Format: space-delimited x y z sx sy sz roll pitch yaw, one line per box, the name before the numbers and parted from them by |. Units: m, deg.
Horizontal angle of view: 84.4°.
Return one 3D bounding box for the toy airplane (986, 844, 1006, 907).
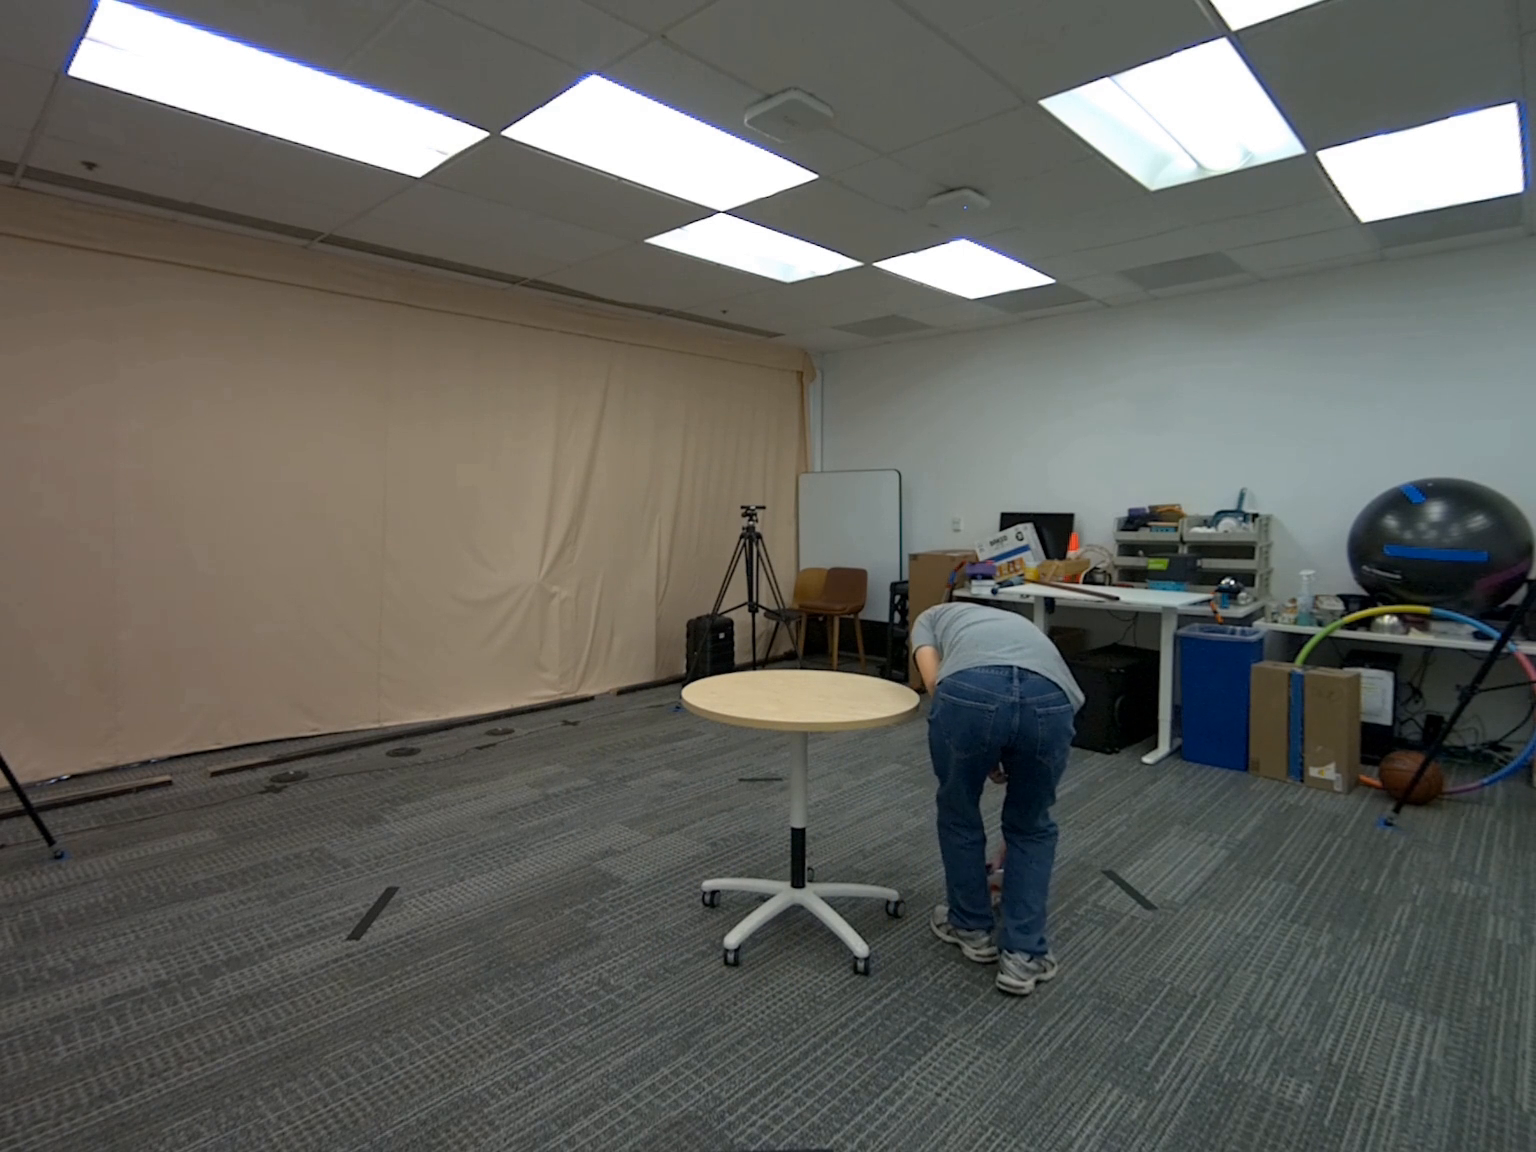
toy airplane | 0.812 1.038 2.864 0.244 0.160 0.261 20 -47 -27
